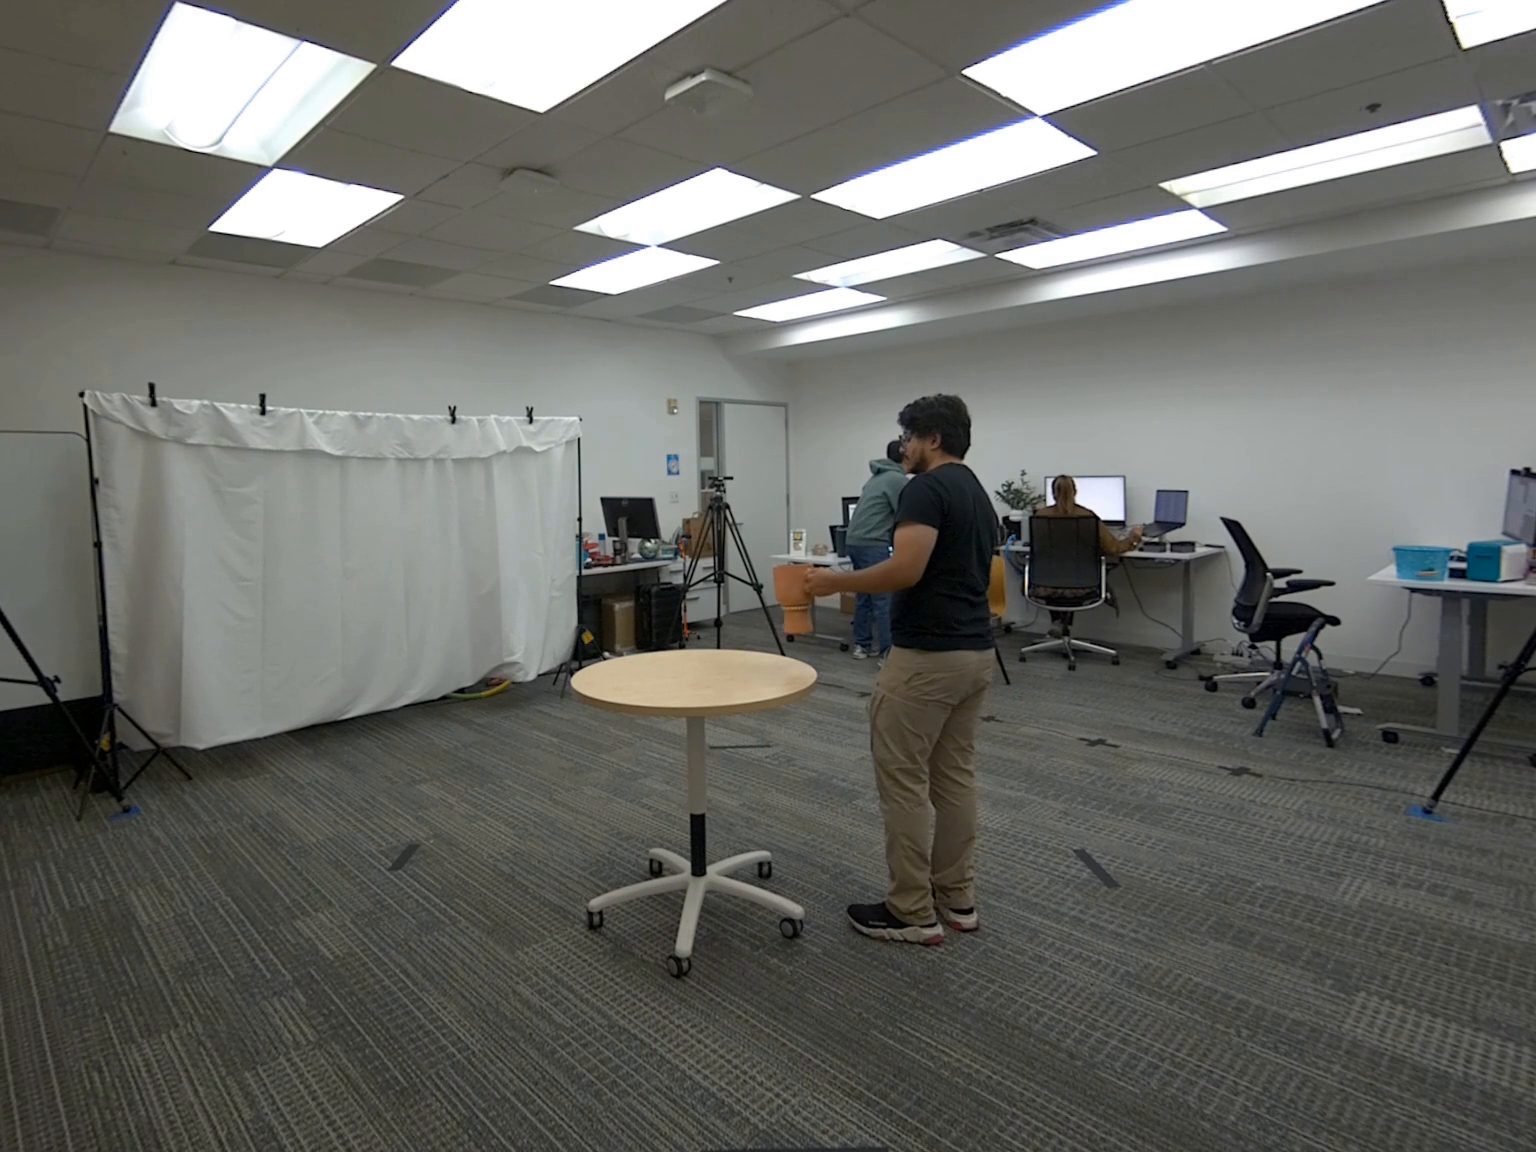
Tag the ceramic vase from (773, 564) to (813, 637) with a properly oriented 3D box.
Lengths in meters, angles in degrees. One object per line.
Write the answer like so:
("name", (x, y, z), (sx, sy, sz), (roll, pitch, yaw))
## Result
("ceramic vase", (0.100, 0.073, 2.792), (0.134, 0.220, 0.159), (-5, 1, -1))
